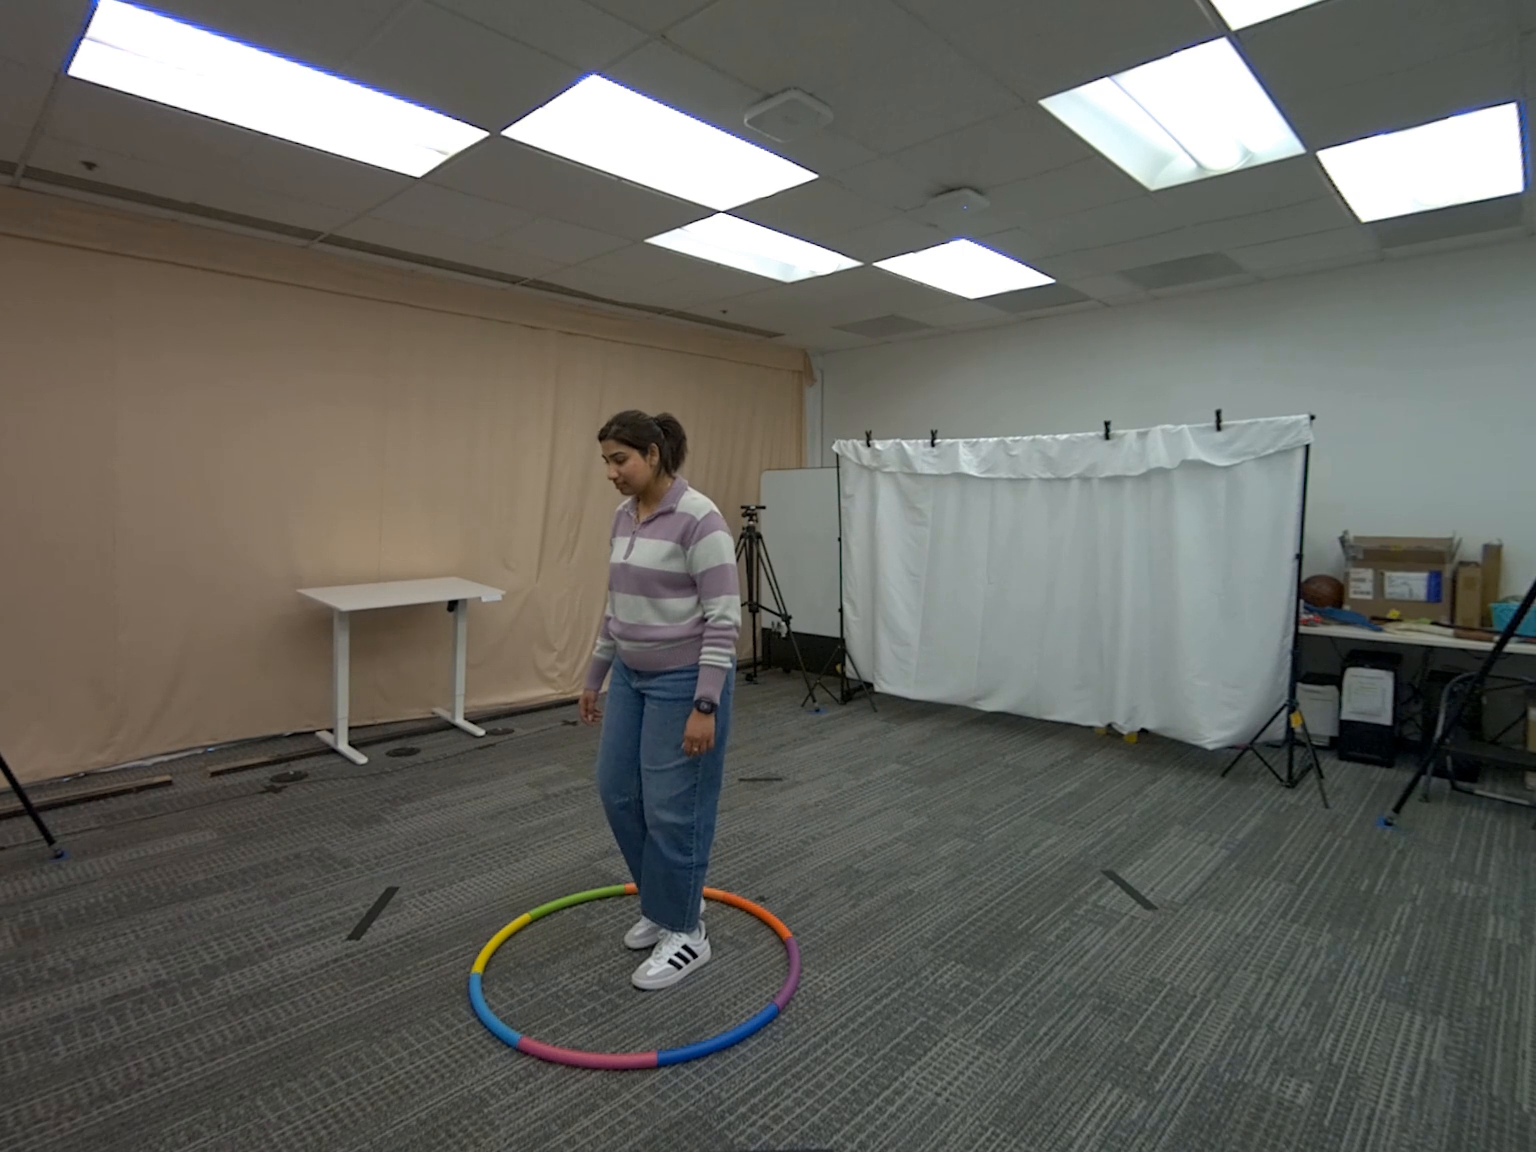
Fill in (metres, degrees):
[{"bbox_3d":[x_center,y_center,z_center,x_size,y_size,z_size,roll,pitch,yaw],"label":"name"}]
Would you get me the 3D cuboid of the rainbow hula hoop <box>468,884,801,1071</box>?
[{"bbox_3d":[-0.392,1.153,2.562,0.978,0.035,0.982,-1,5,-2],"label":"rainbow hula hoop"}]
